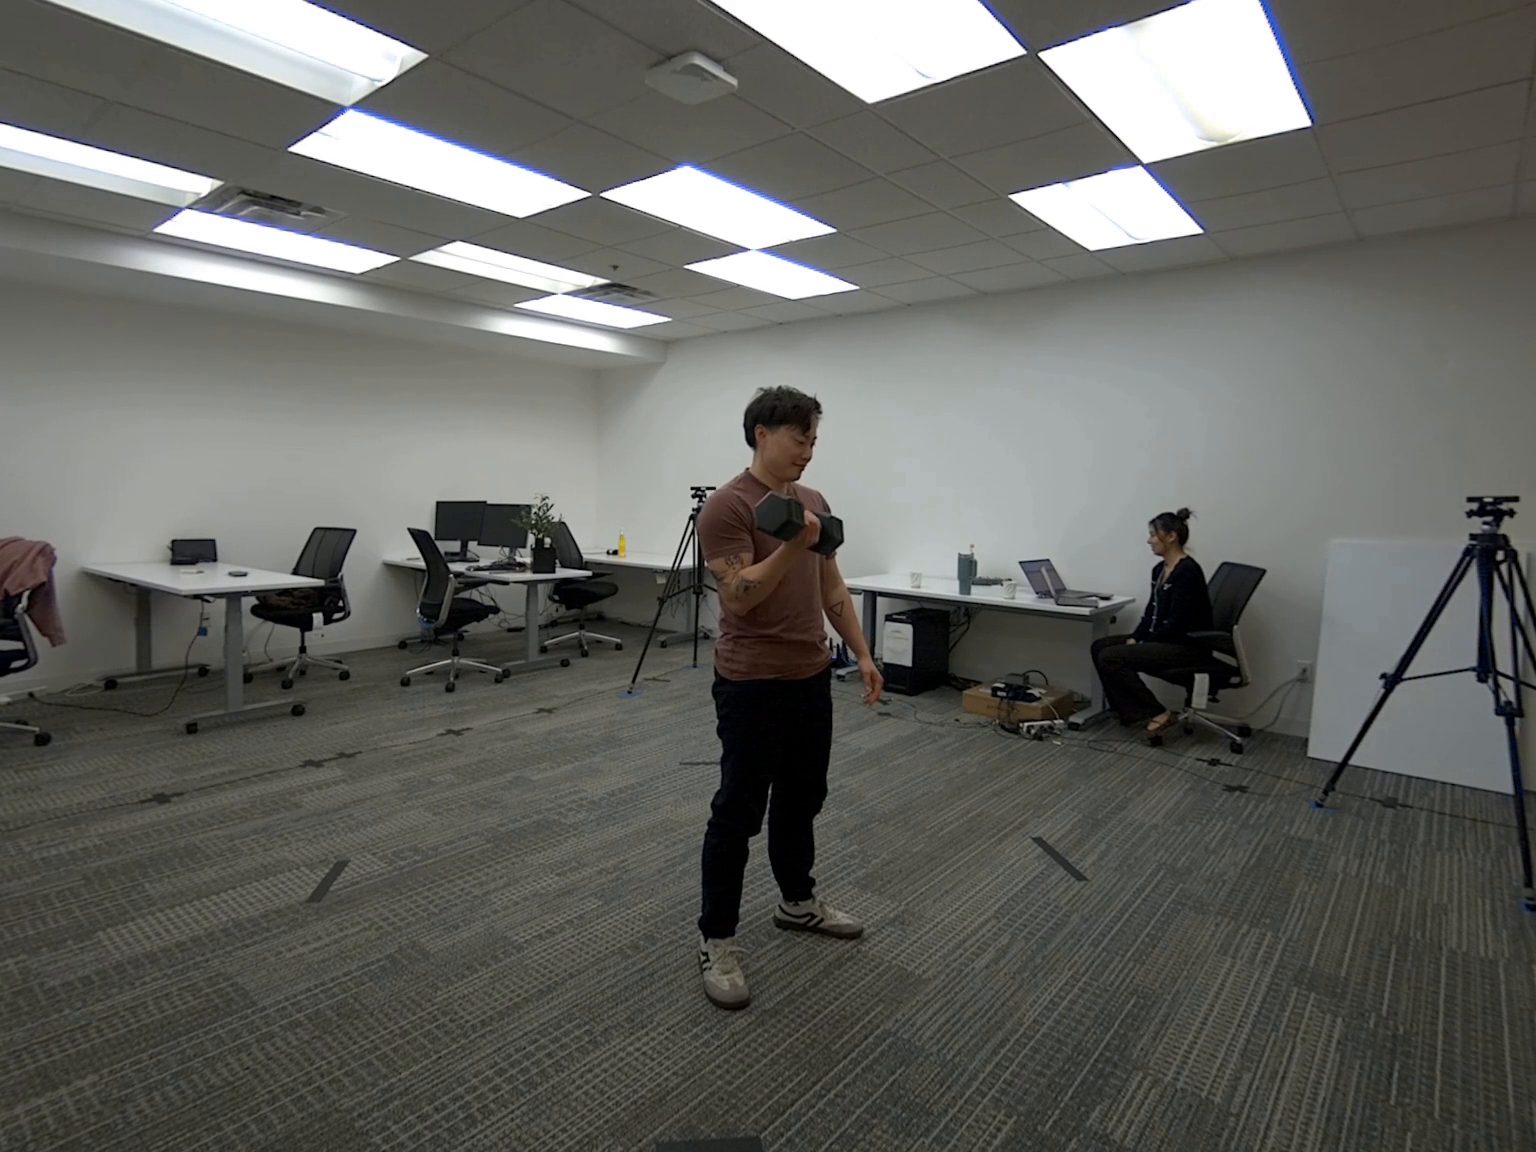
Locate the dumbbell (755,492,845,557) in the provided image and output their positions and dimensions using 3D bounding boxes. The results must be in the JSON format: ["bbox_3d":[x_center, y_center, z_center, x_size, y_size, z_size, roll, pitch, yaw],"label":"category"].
[{"bbox_3d":[0.077,-0.127,2.192,0.111,0.125,0.283,-17,-18,29],"label":"dumbbell"}]
